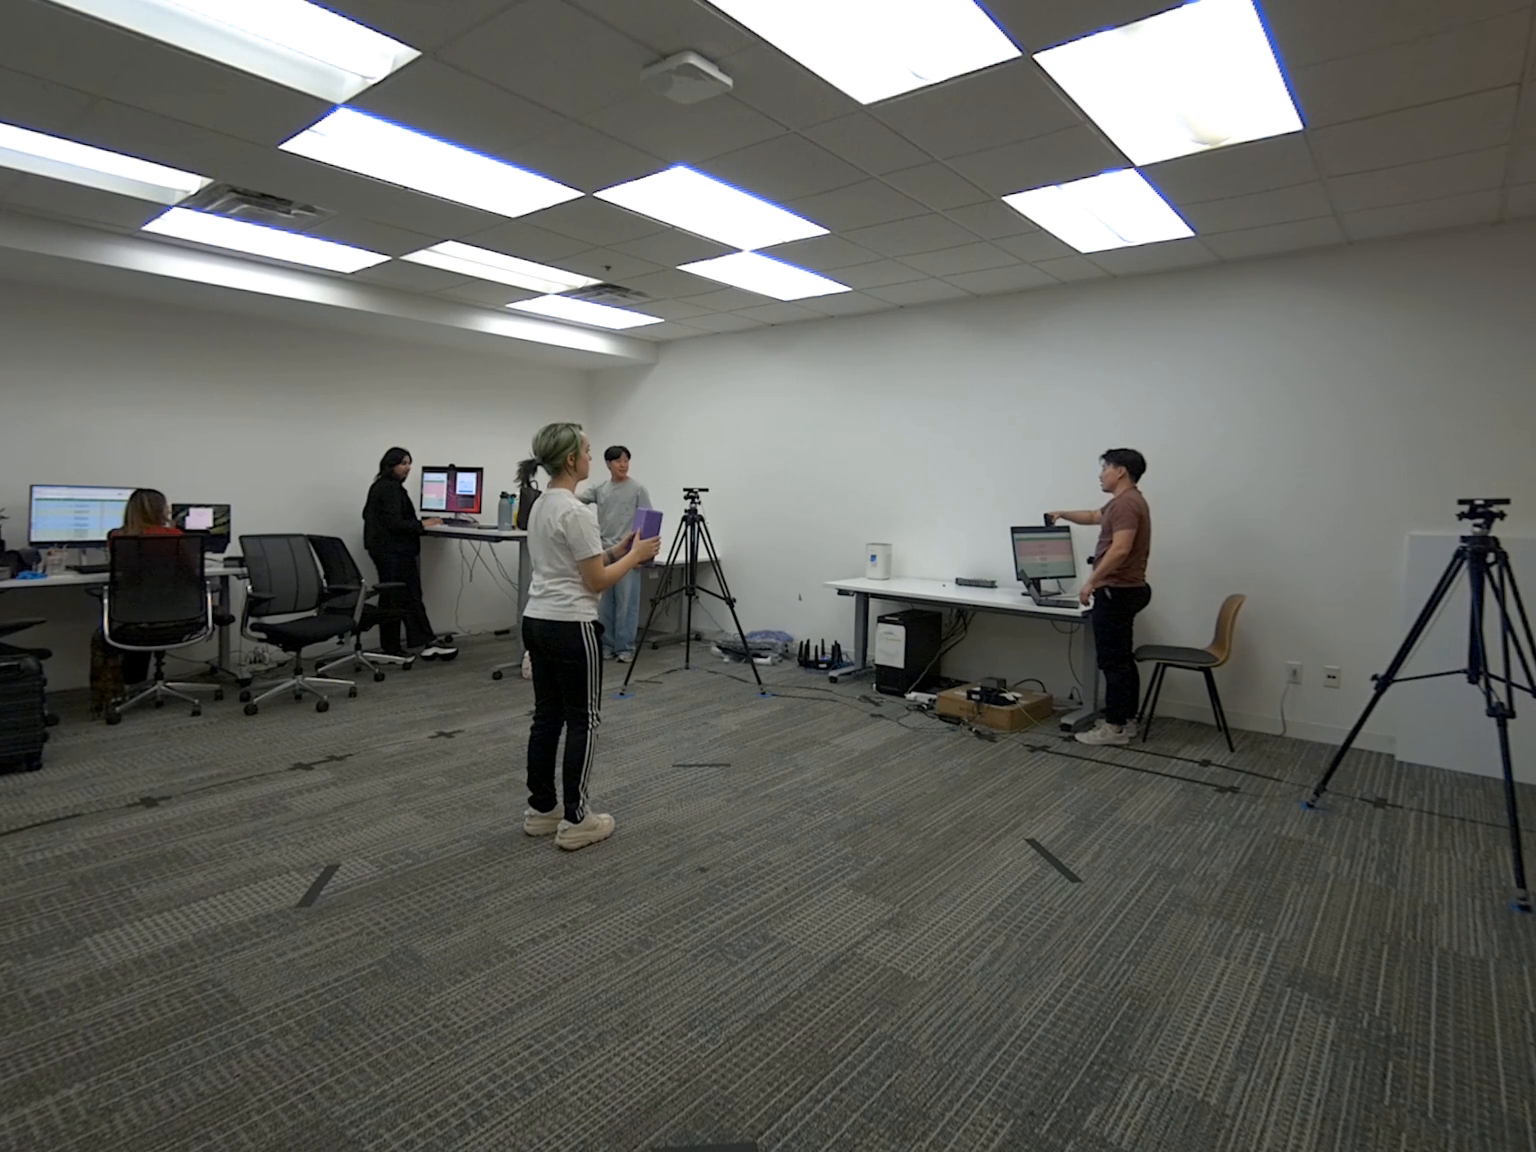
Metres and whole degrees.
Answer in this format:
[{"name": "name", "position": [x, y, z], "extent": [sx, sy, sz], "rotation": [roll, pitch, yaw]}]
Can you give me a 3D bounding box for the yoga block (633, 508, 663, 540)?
[{"name": "yoga block", "position": [-0.530, -0.170, 3.563], "extent": [0.074, 0.229, 0.153], "rotation": [15, 0, -23]}]
